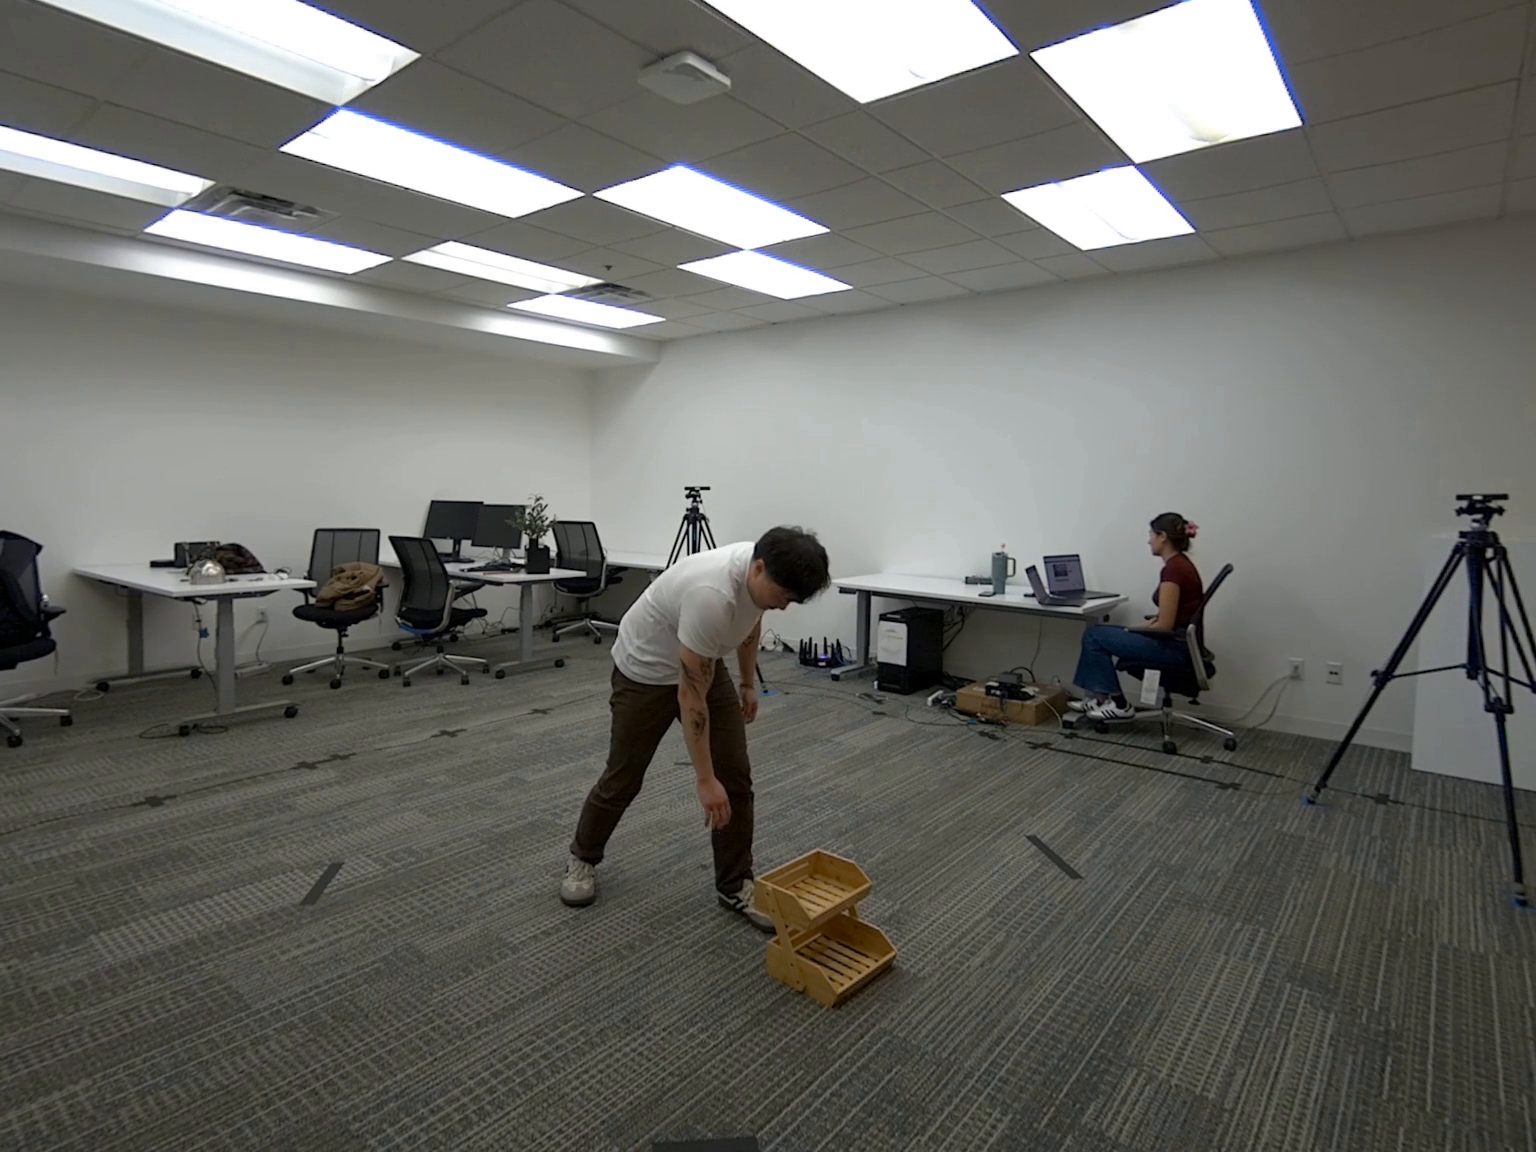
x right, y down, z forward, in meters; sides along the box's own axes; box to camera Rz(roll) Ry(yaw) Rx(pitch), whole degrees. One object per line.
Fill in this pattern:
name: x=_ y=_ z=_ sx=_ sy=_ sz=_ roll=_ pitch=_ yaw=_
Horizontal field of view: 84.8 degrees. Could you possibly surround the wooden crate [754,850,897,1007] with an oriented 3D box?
wooden crate: x=0.166 y=1.004 z=2.467 sx=0.312 sy=0.272 sz=0.315 roll=4 pitch=6 yaw=42
